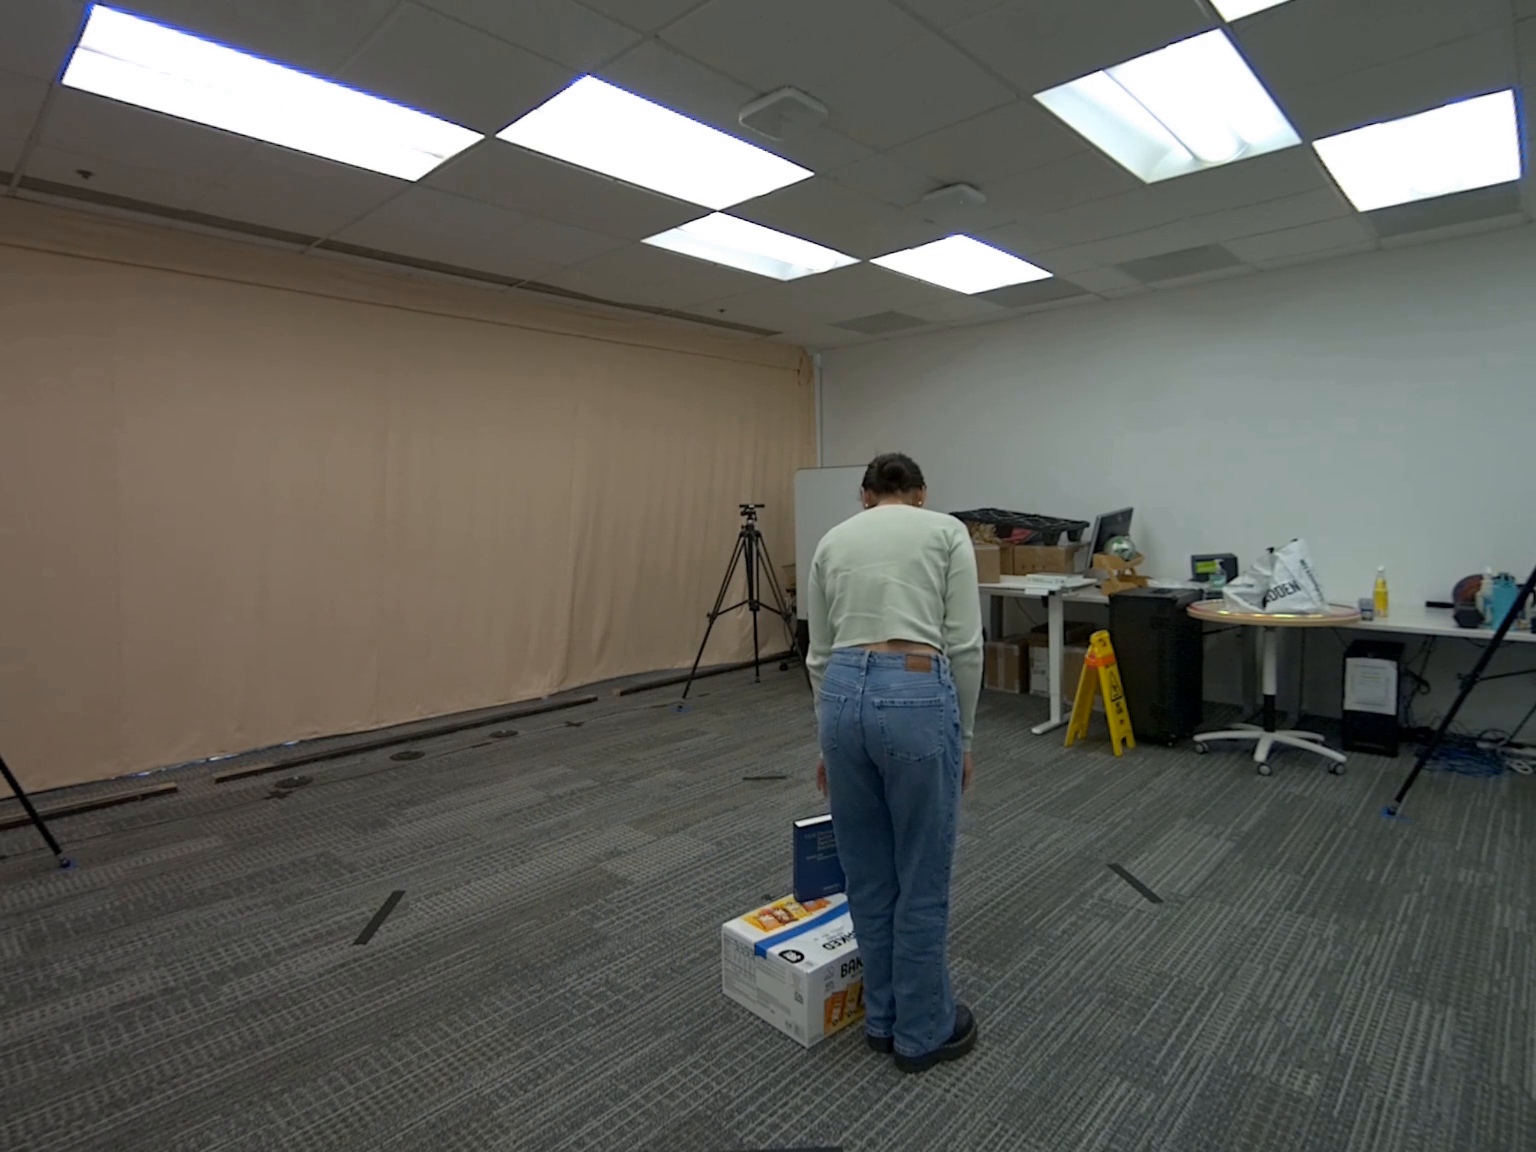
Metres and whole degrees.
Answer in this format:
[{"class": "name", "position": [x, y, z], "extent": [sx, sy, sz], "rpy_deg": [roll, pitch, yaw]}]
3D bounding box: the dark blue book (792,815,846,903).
[{"class": "dark blue book", "position": [0.157, 0.852, 2.549], "extent": [0.160, 0.244, 0.046], "rpy_deg": [-4, 5, -23]}]
